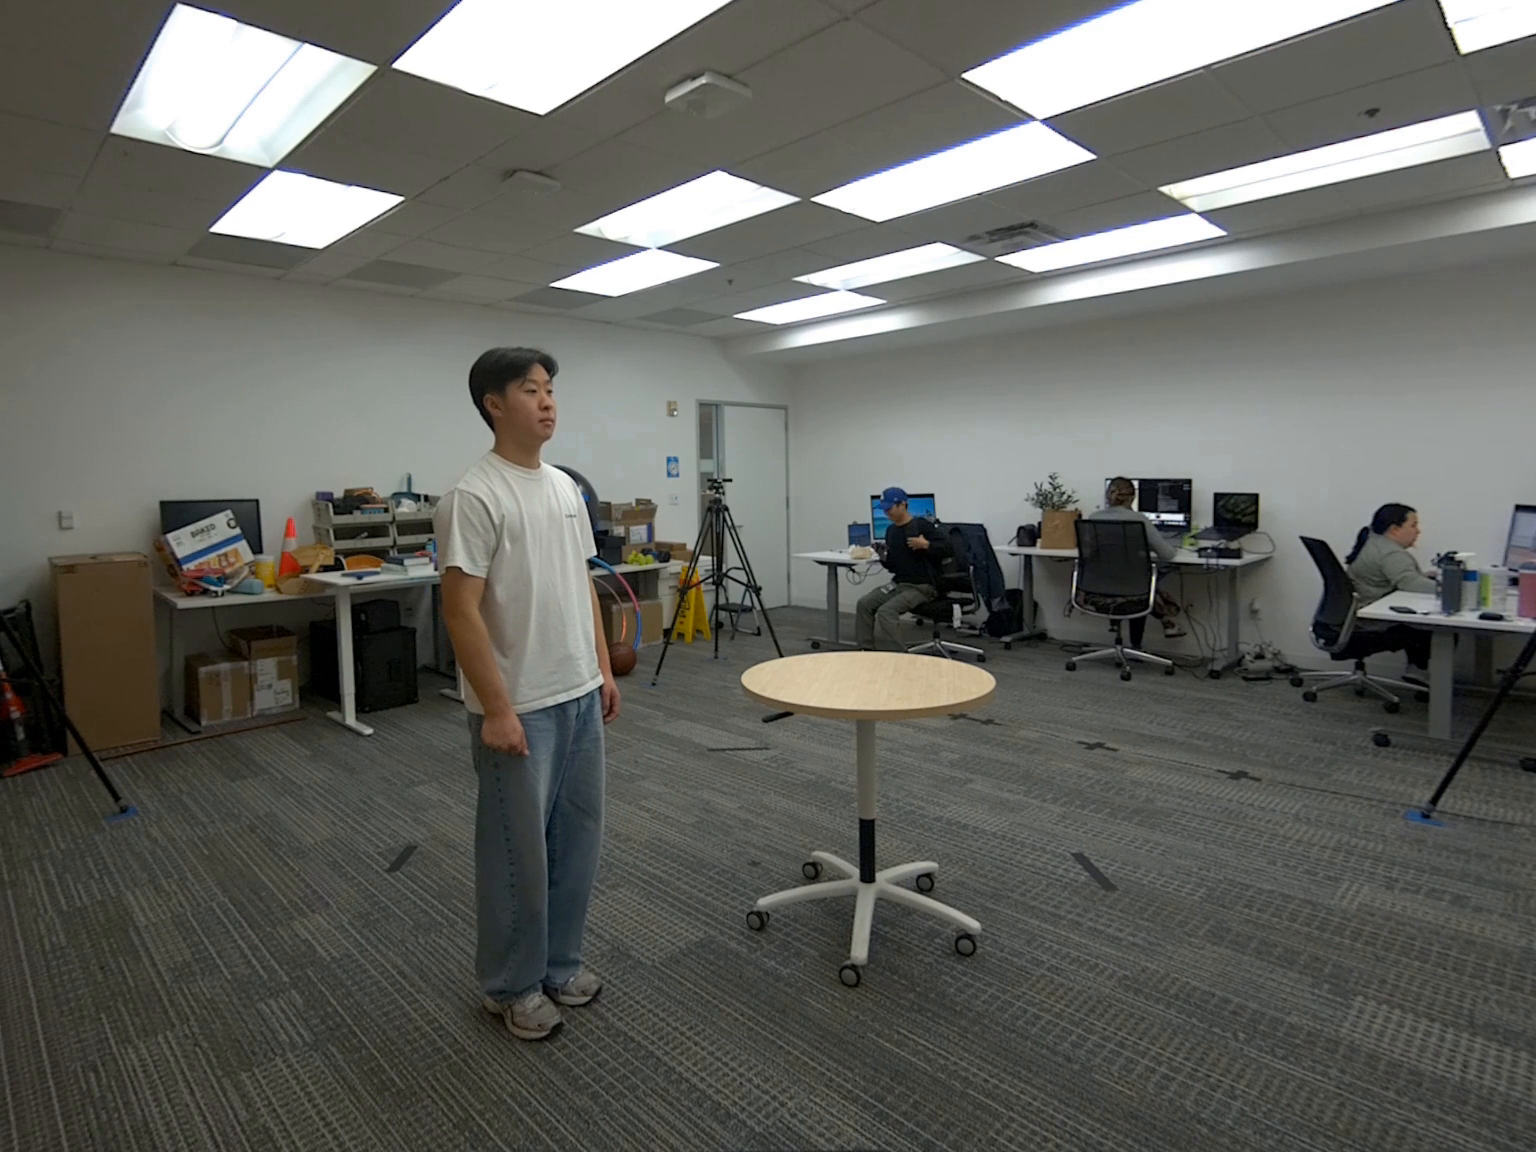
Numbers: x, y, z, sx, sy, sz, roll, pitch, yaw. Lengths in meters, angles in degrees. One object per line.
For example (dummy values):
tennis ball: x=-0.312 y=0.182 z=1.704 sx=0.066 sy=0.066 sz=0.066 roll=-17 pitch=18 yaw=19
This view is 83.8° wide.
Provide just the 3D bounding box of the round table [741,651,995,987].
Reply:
round table: x=0.310 y=0.702 z=2.658 sx=0.763 sy=0.791 sz=0.768 roll=-1 pitch=5 yaw=-2
